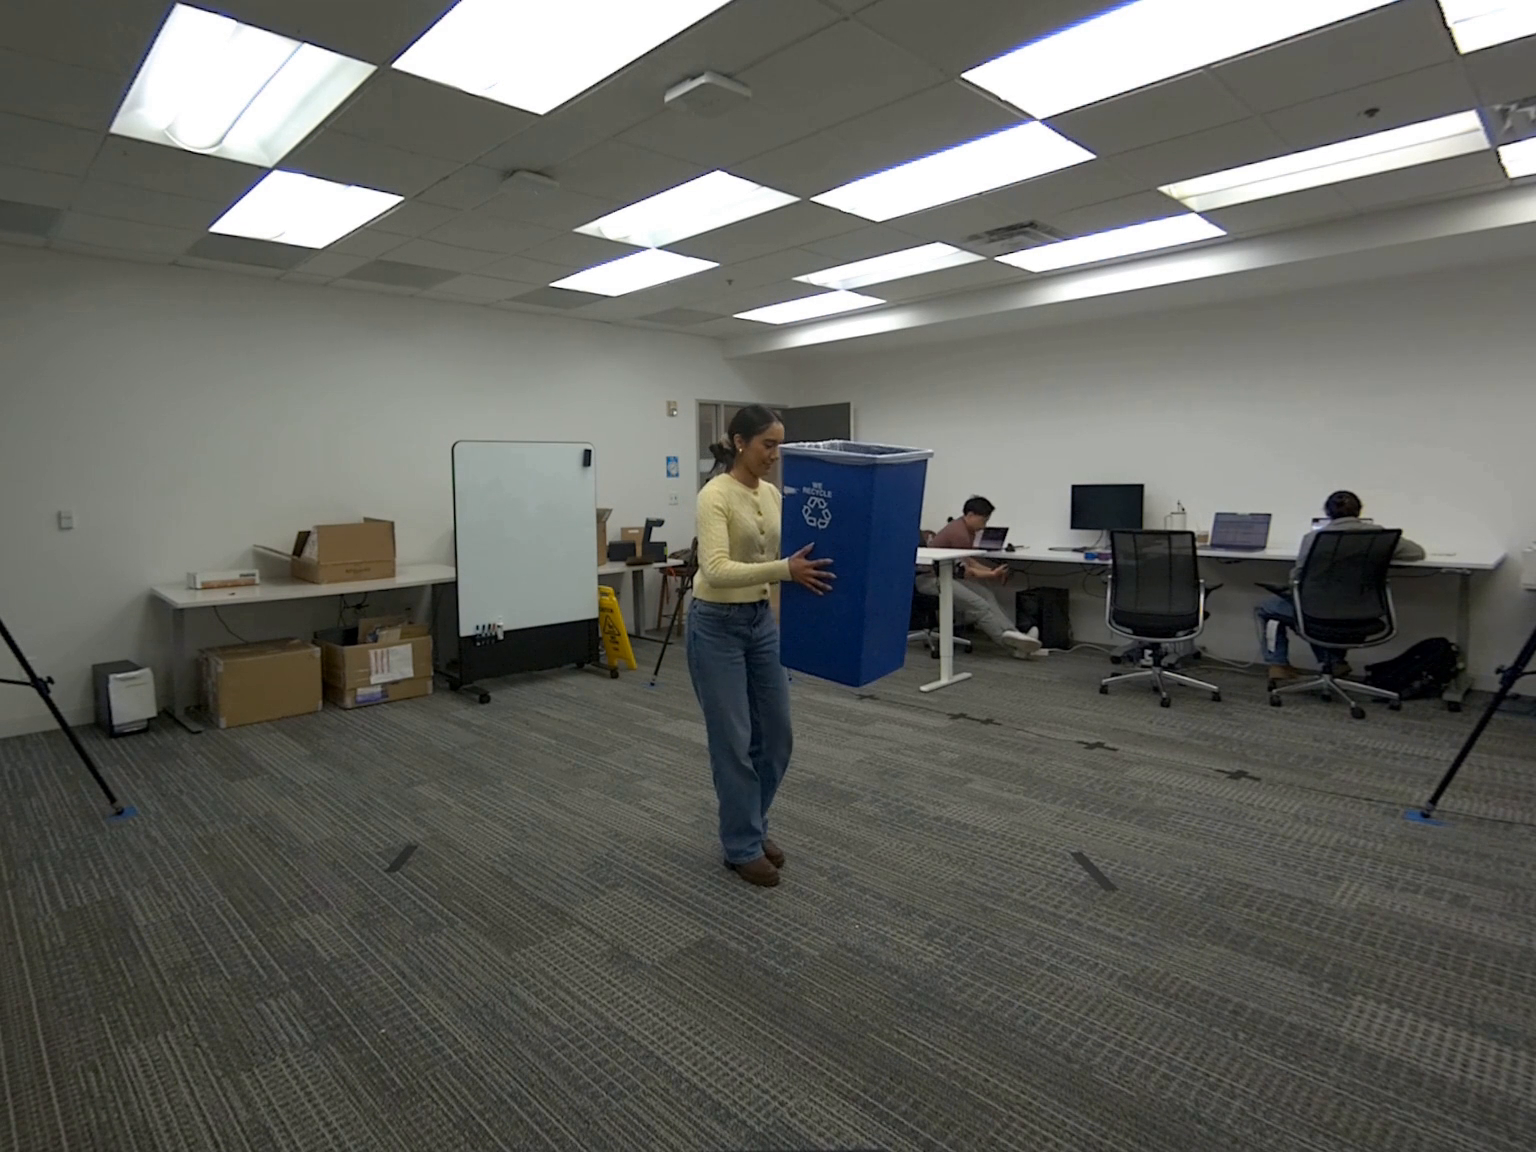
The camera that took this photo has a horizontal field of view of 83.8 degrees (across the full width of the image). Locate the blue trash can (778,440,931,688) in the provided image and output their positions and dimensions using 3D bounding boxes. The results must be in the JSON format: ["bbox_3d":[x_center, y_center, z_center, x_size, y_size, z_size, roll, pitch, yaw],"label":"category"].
[{"bbox_3d":[0.269,-0.052,2.718,0.386,0.707,0.369,11,14,38],"label":"blue trash can"}]
